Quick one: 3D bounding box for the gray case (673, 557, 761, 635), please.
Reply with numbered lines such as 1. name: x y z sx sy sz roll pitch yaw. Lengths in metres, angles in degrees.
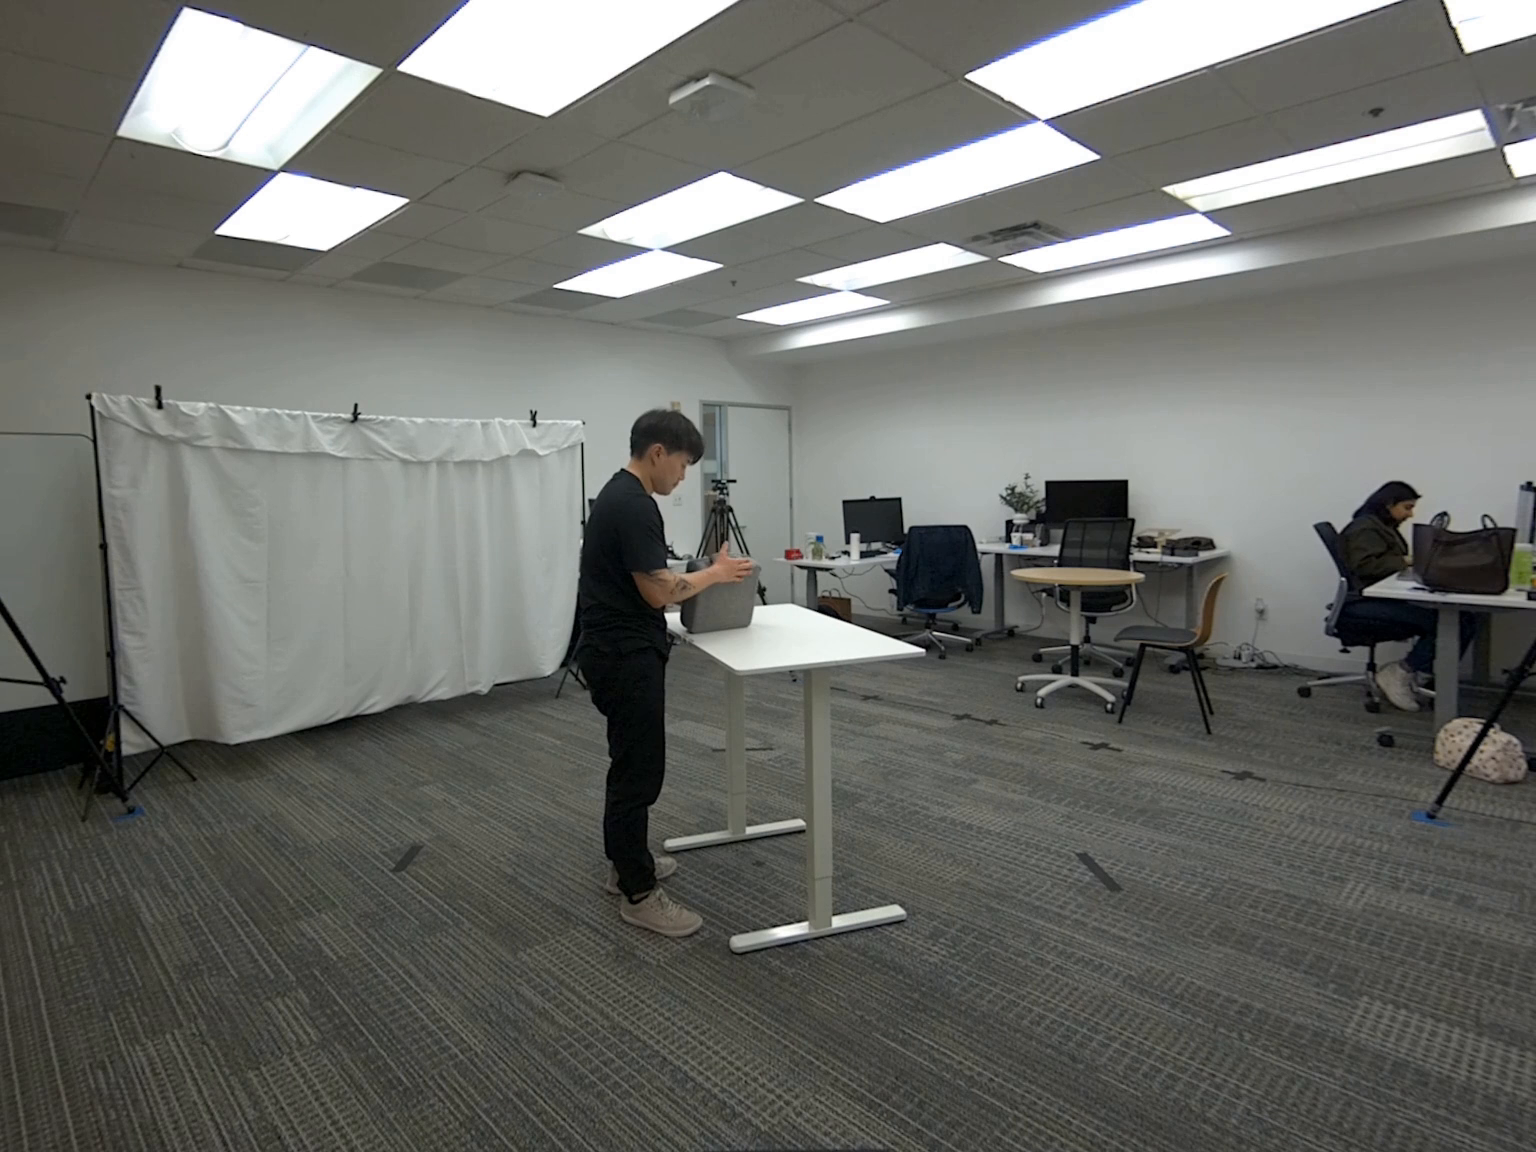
1. gray case: -0.159 0.058 2.921 0.251 0.257 0.108 -4 19 -30
